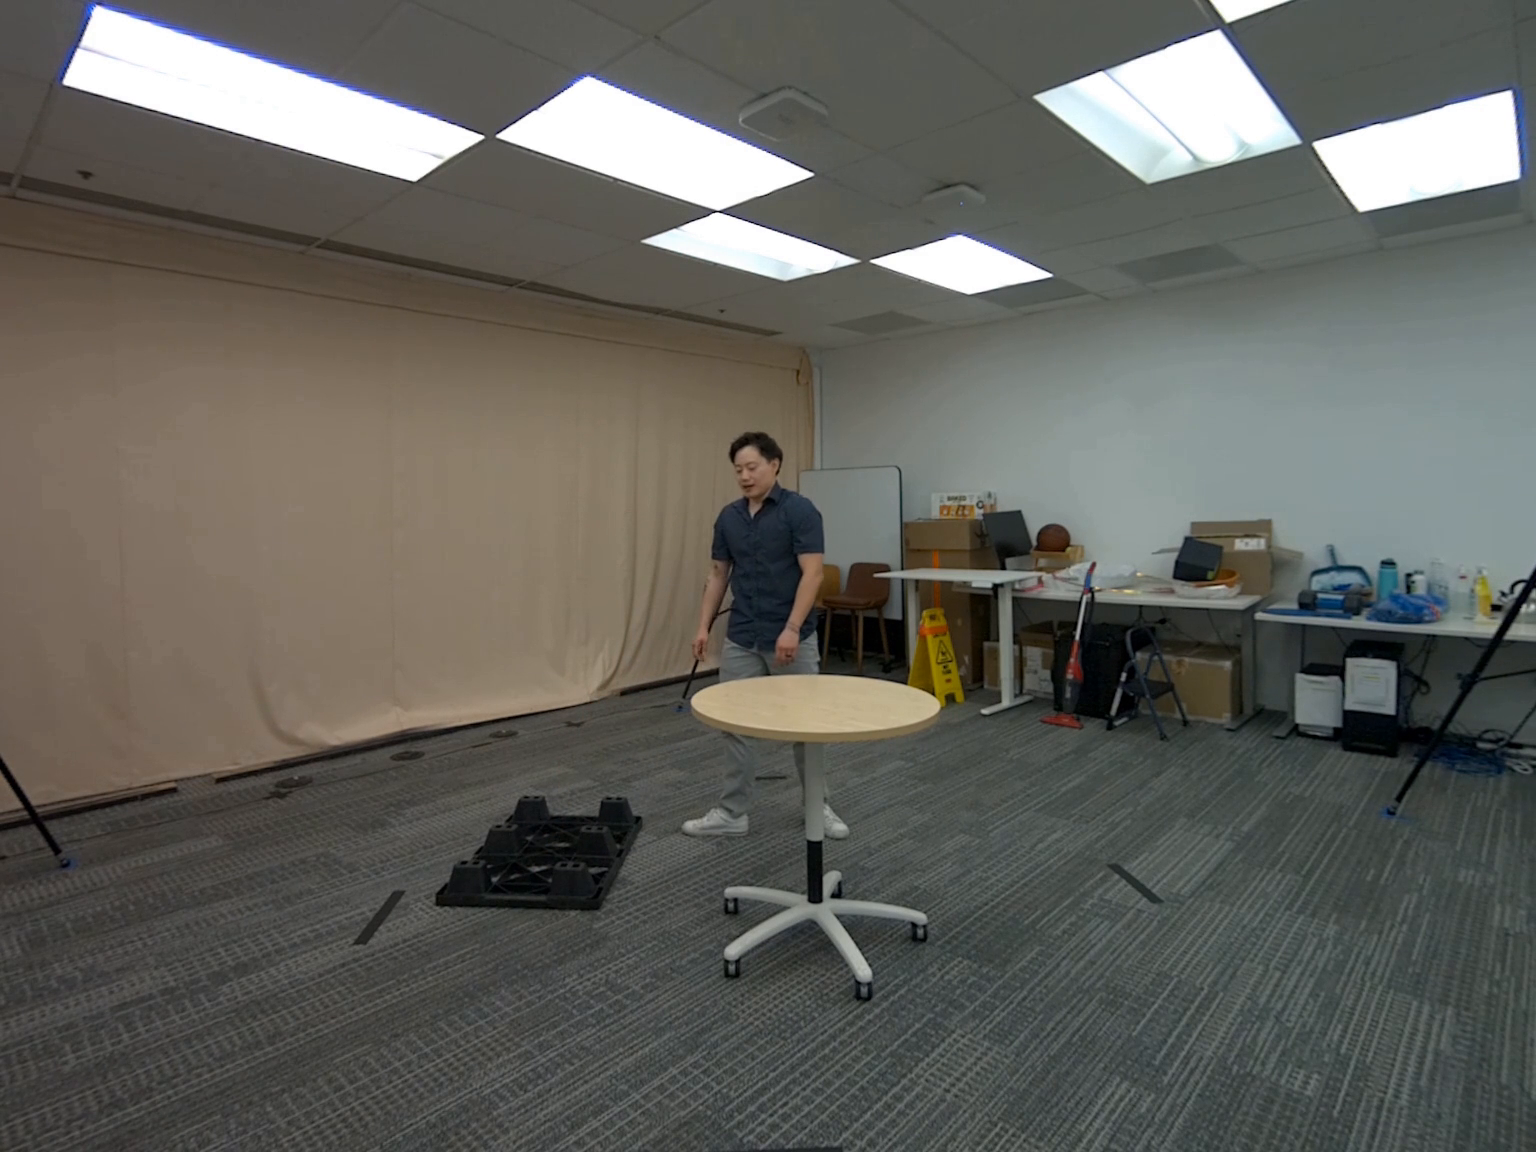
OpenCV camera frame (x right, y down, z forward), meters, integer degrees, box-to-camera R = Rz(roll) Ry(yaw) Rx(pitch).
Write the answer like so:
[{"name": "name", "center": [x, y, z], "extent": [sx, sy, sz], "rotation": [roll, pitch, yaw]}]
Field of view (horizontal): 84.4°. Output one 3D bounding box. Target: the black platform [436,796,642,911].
[{"name": "black platform", "center": [-0.872, 1.063, 3.334], "extent": [0.608, 0.143, 0.803], "rotation": [-1, 5, 4]}]
